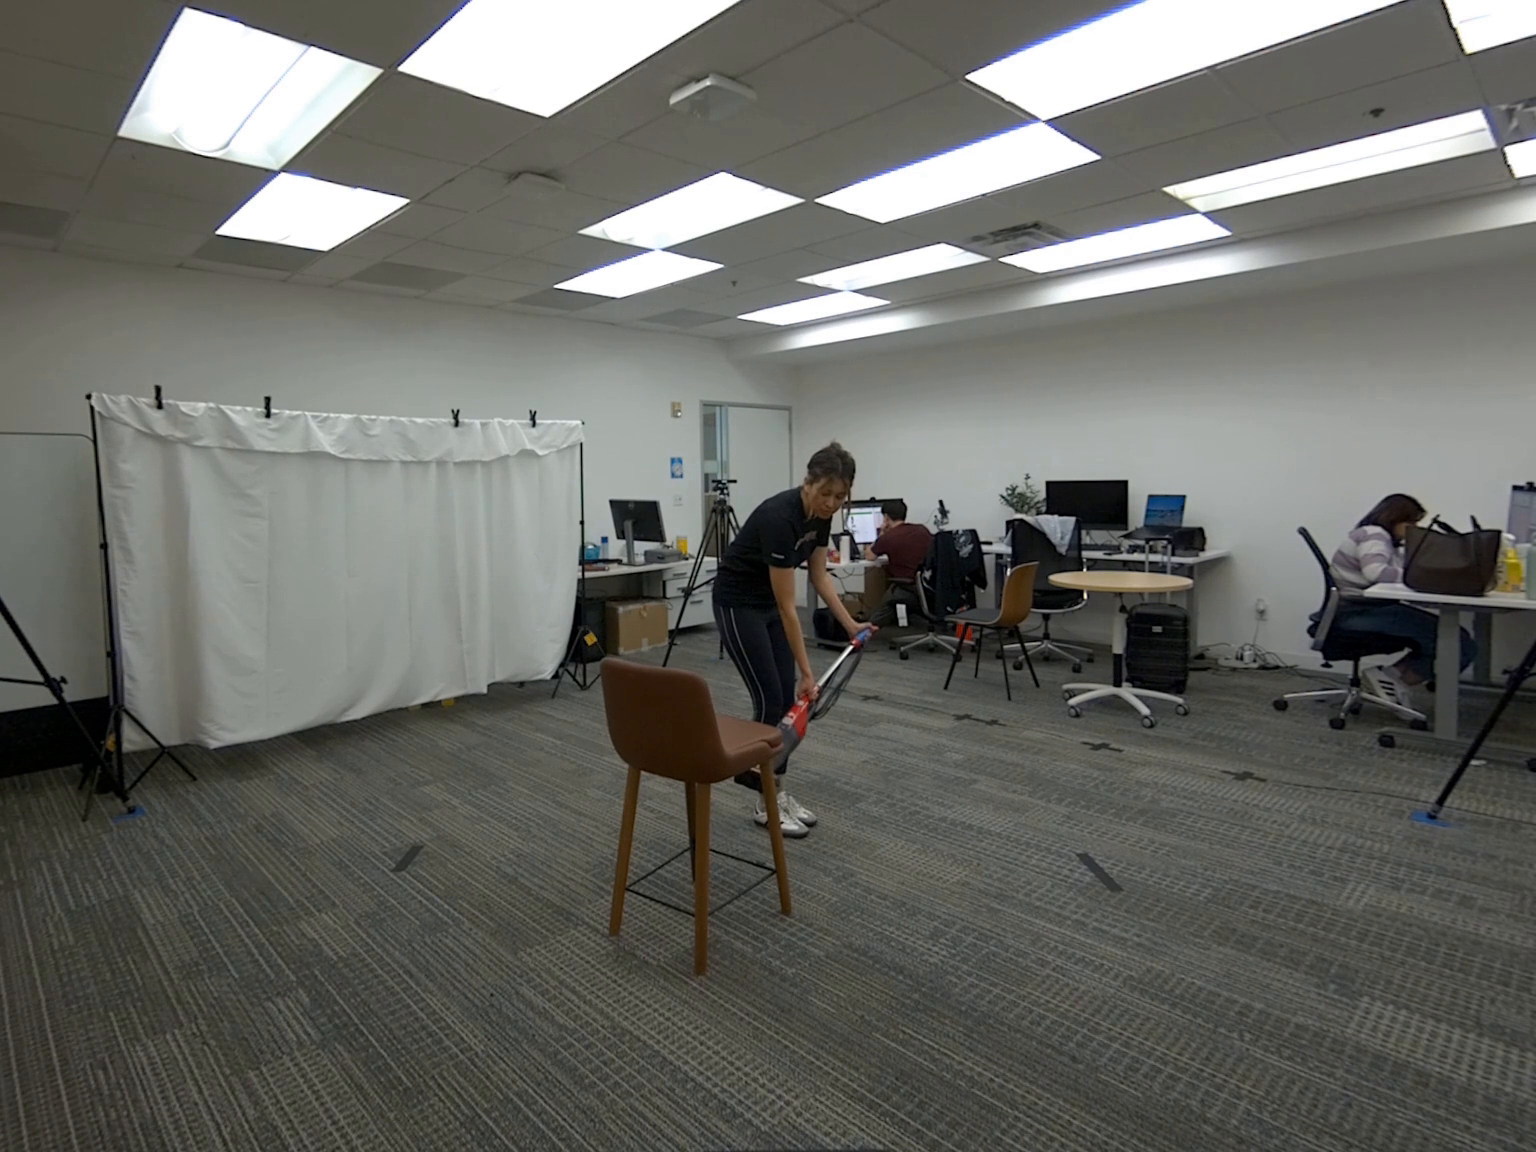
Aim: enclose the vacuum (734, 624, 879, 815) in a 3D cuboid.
[{"bbox_3d":[0.210,0.464,3.308,0.260,0.141,1.043,2,28,36],"label":"vacuum"}]
